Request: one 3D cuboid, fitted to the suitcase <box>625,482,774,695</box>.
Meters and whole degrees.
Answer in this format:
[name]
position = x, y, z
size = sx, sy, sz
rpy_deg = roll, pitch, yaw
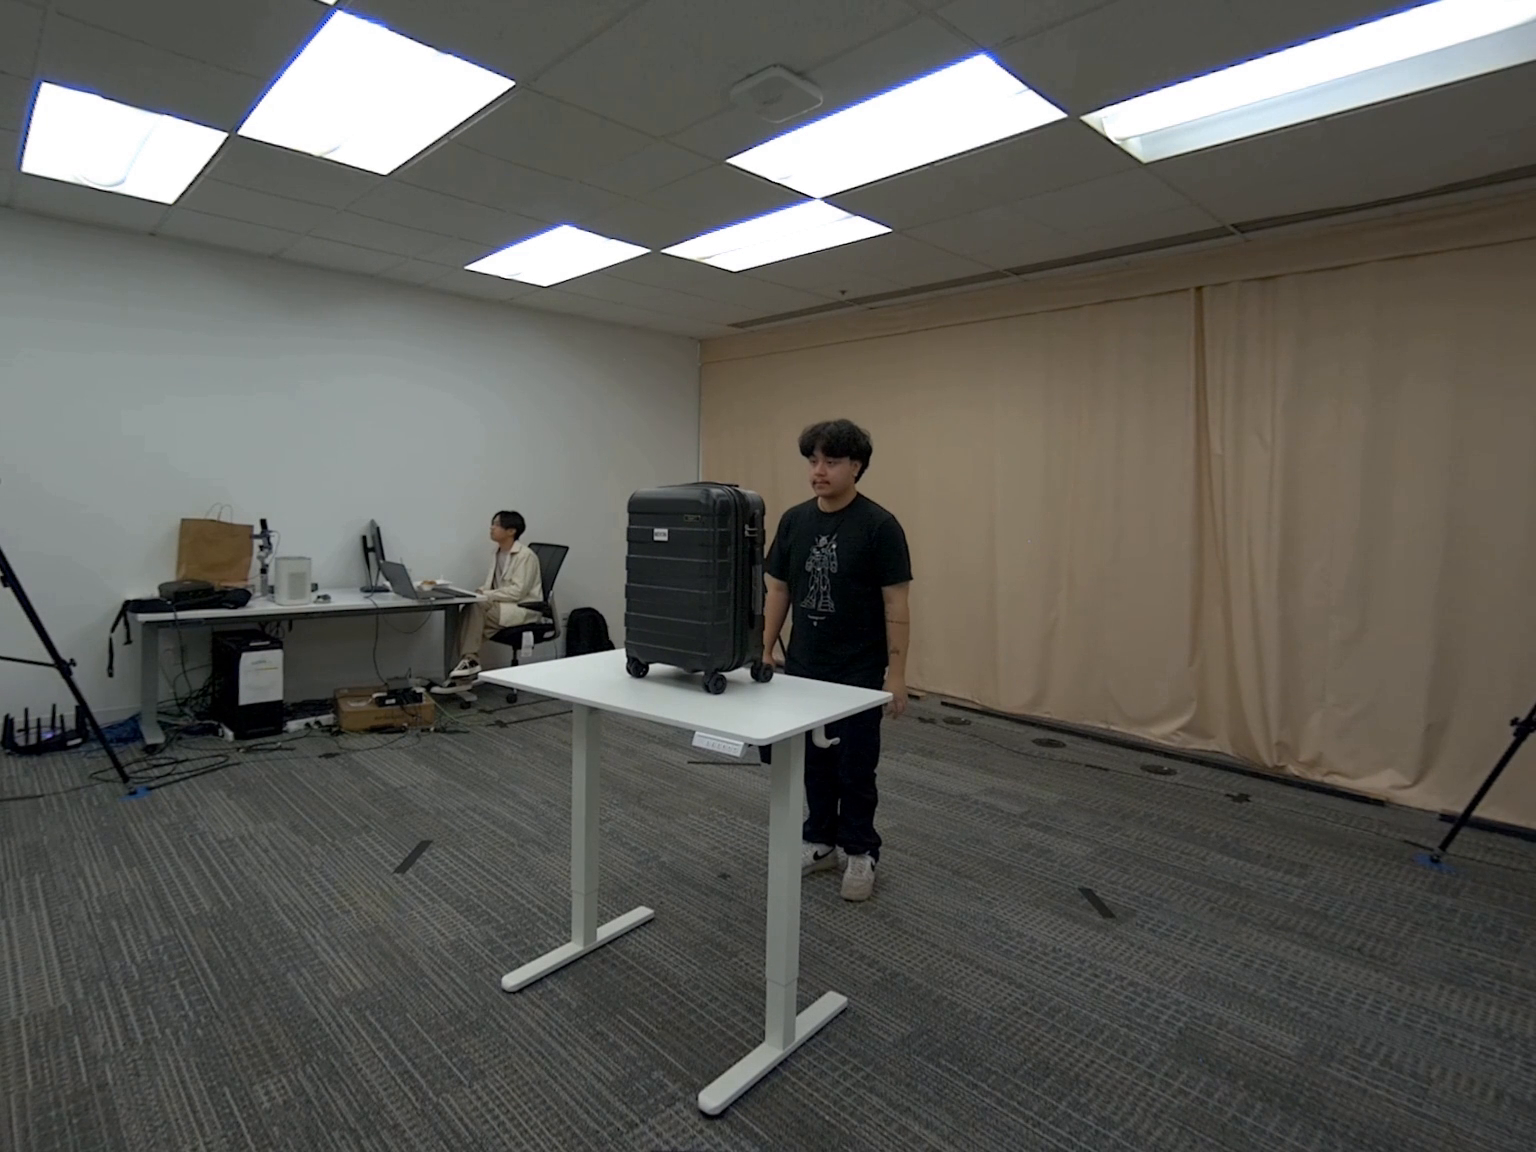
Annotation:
[suitcase]
position = -0.205, 0.018, 2.339
size = 0.385, 0.548, 0.243
rpy_deg = 4, 5, 38
